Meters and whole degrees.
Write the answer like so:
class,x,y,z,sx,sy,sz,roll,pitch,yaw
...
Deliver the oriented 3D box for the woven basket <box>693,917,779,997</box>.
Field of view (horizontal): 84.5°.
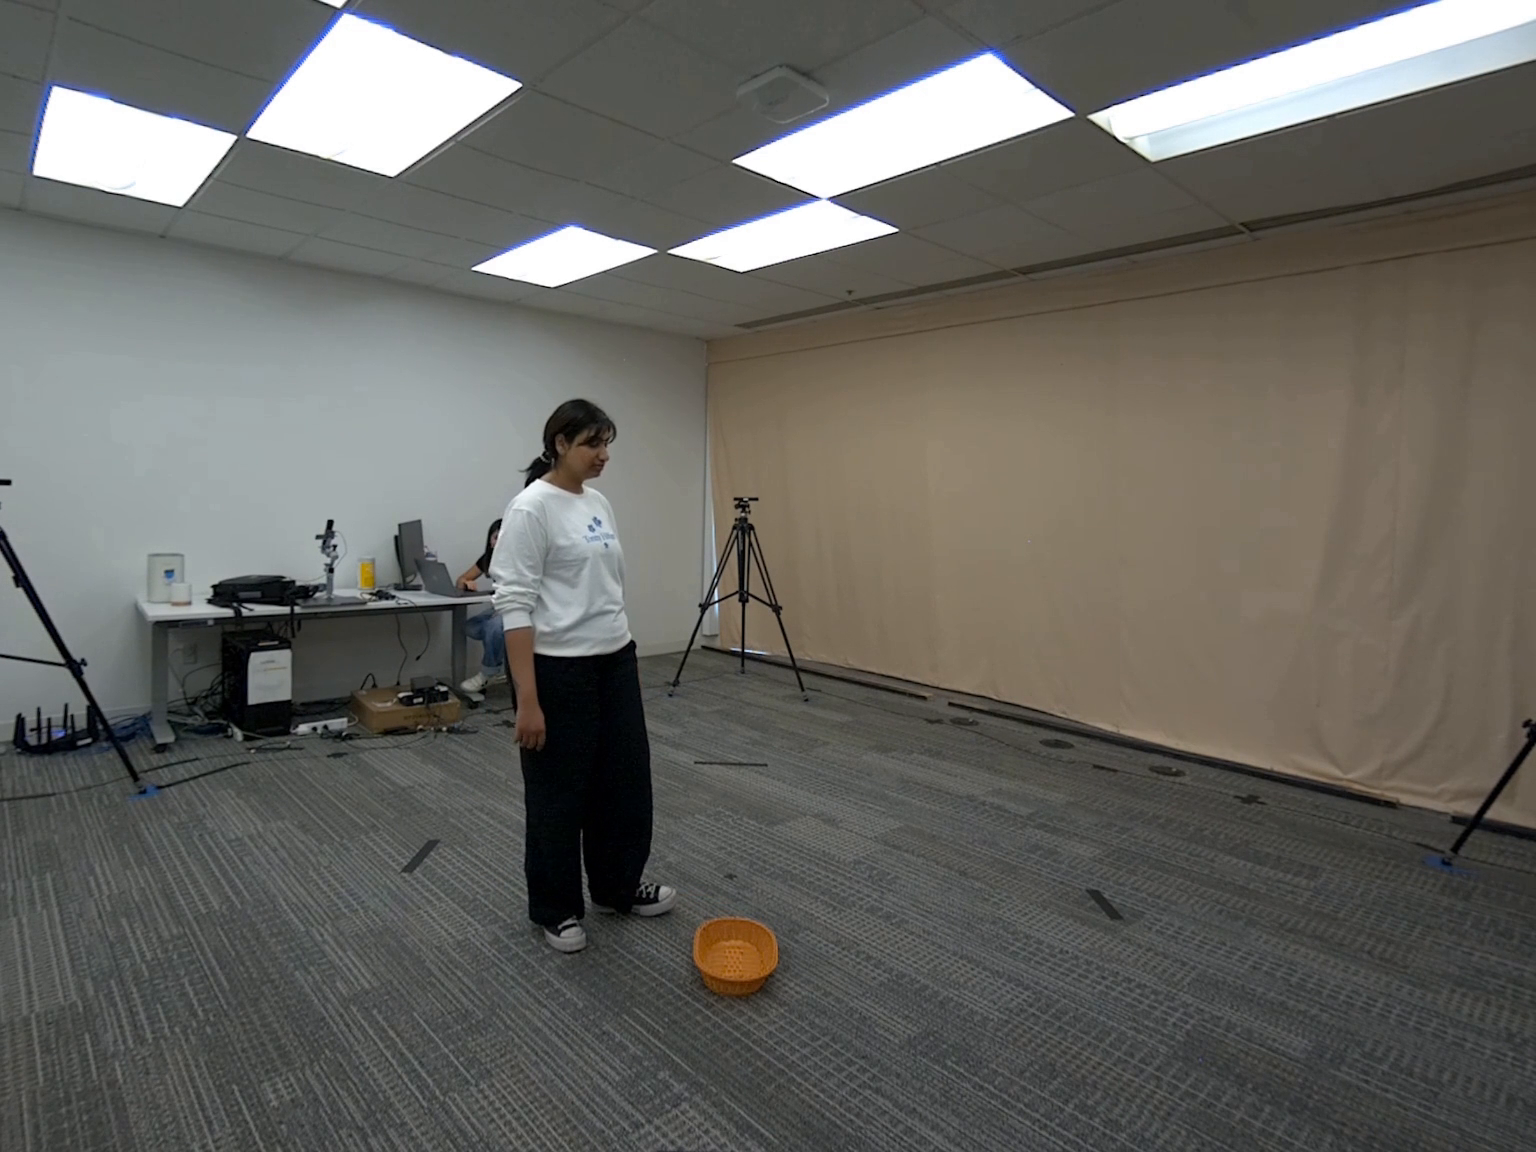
class,x,y,z,sx,sy,sz,roll,pitch,yaw
woven basket,-0.105,1.126,2.487,0.253,0.073,0.351,3,5,1
